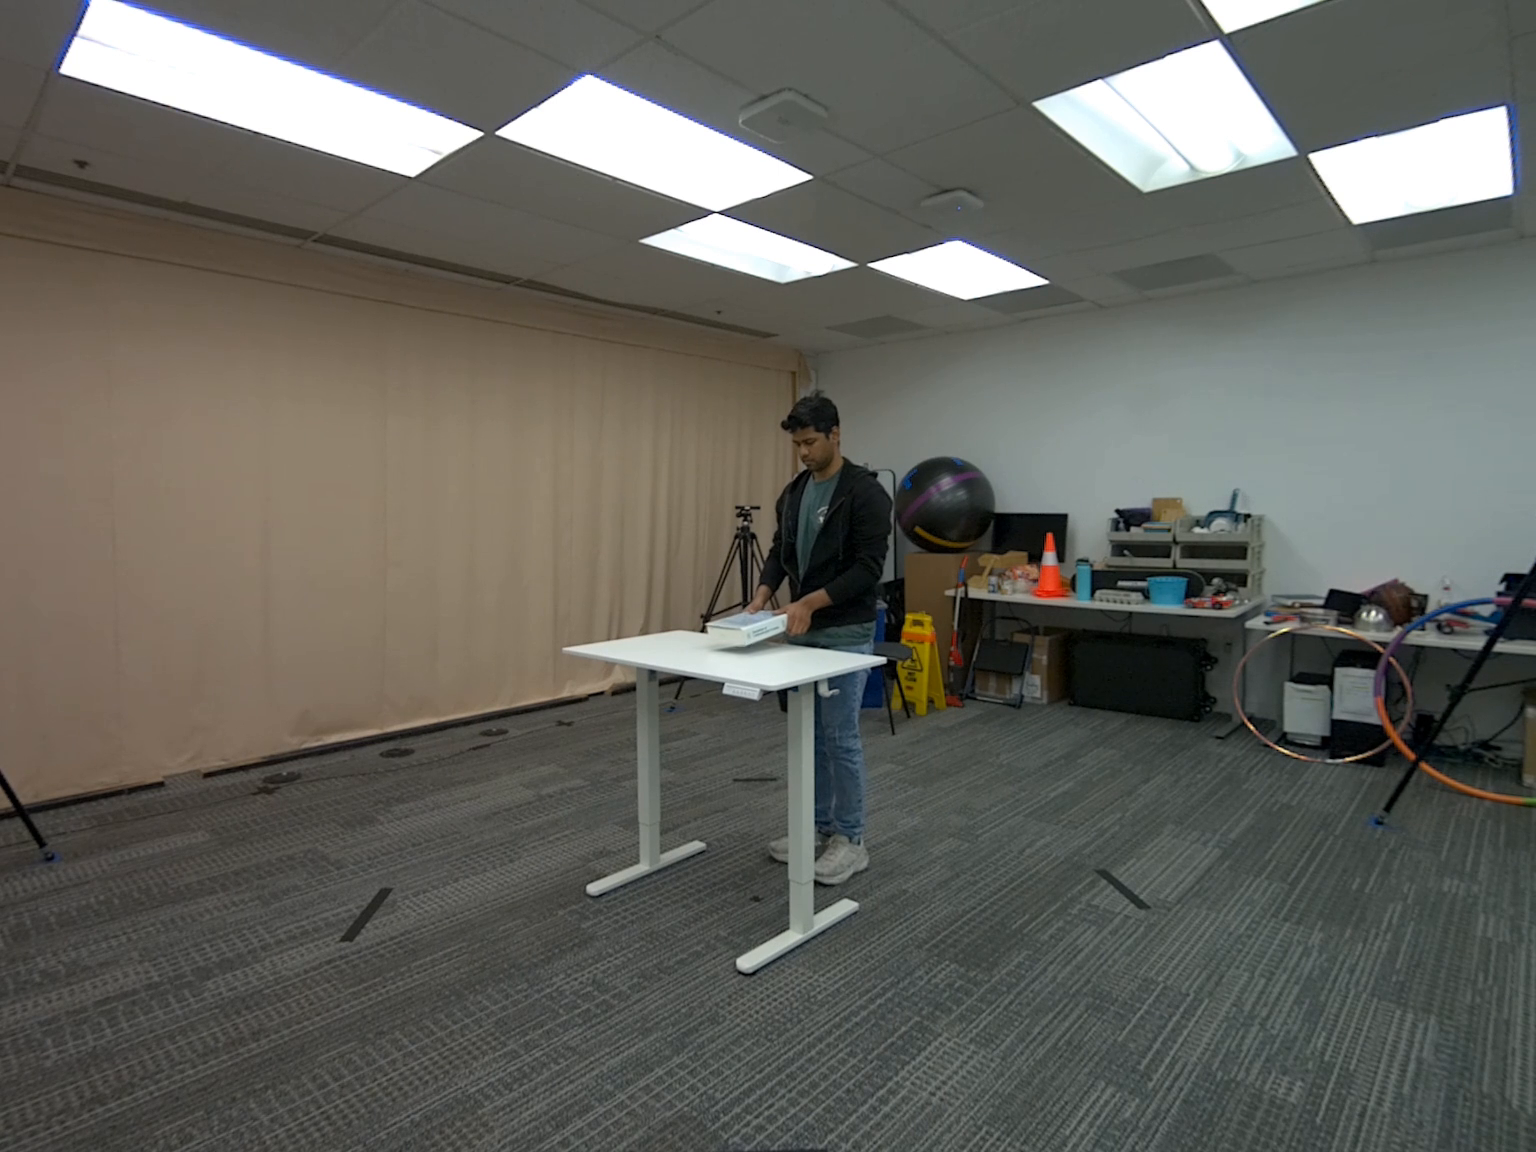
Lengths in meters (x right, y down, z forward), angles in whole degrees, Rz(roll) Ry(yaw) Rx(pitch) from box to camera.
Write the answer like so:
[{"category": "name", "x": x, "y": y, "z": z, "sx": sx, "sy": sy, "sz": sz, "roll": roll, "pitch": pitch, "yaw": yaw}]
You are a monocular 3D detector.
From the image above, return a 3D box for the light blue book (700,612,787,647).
[{"category": "light blue book", "x": -0.085, "y": 0.184, "z": 3.012, "sx": 0.197, "sy": 0.059, "sz": 0.254, "roll": 1, "pitch": 9, "yaw": 37}]
